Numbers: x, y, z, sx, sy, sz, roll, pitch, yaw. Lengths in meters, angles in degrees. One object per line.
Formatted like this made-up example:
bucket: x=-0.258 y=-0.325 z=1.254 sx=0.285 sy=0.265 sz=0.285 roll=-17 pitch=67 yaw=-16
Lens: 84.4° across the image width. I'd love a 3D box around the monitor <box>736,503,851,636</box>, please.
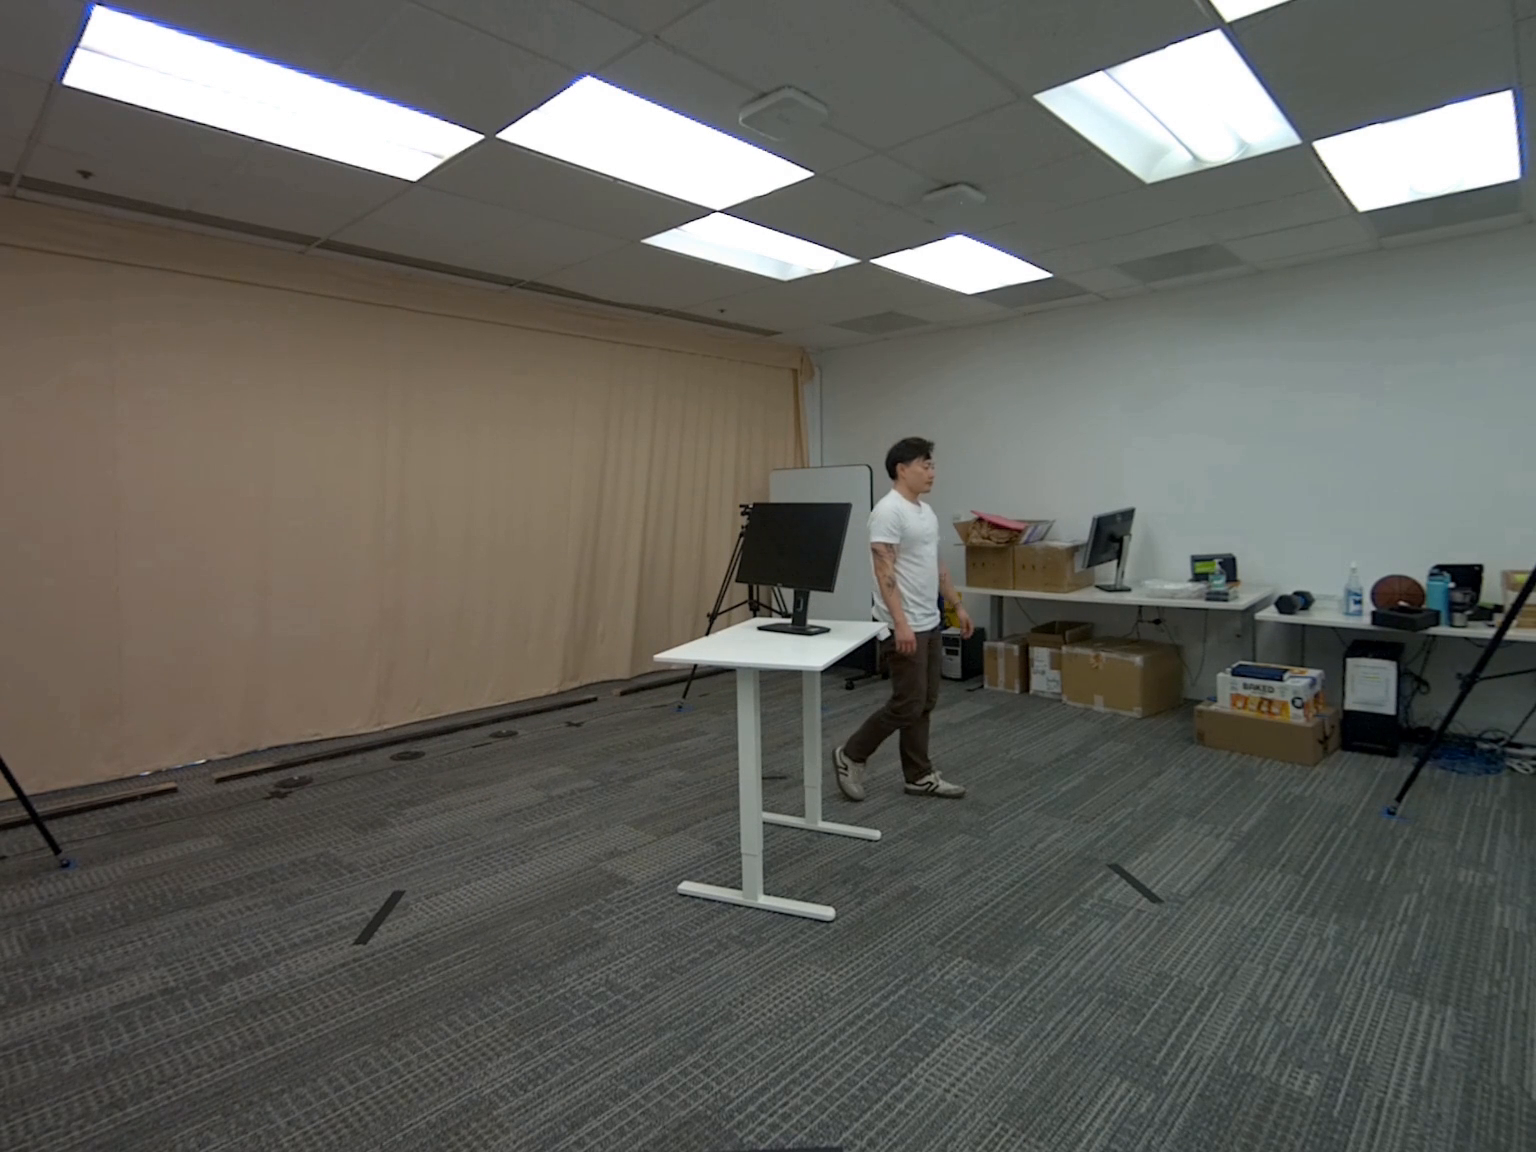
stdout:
monitor: x=0.115 y=-0.033 z=3.391 sx=0.557 sy=0.522 sz=0.181 roll=4 pitch=1 yaw=45
